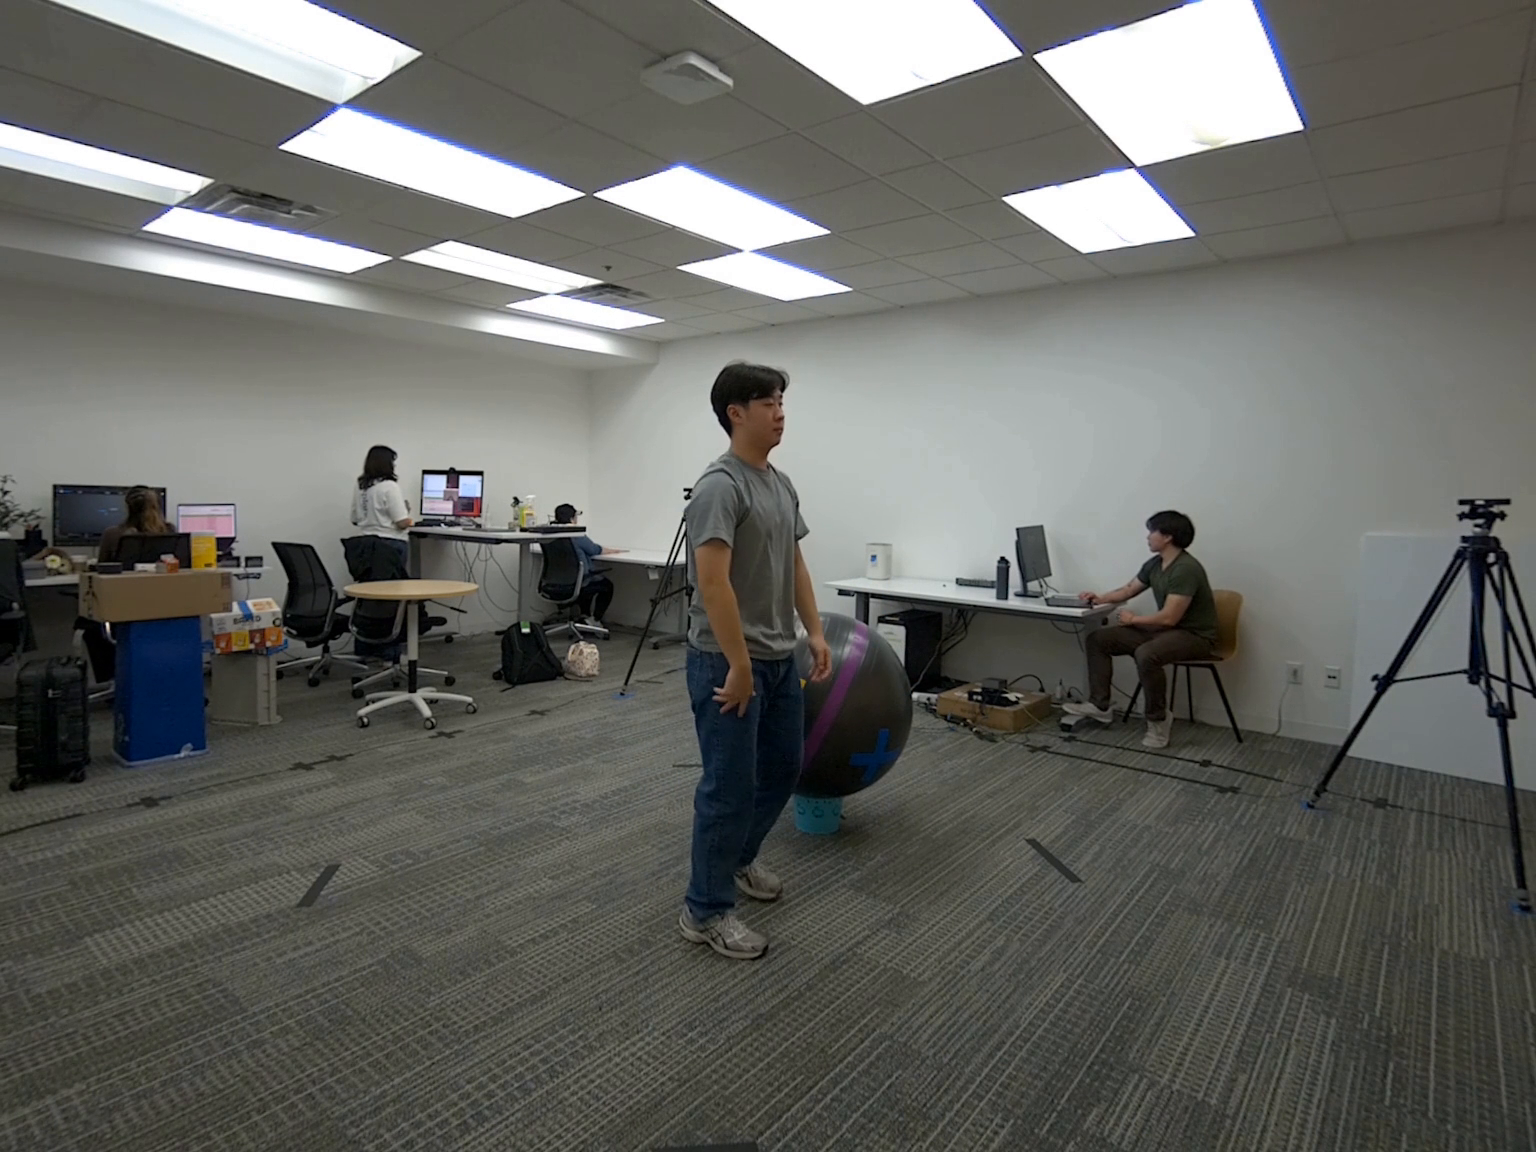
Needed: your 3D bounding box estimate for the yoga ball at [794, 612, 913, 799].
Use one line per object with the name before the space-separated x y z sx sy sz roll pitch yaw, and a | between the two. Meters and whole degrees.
yoga ball | 0.205 0.528 3.525 0.757 0.755 0.762 1 4 -2
